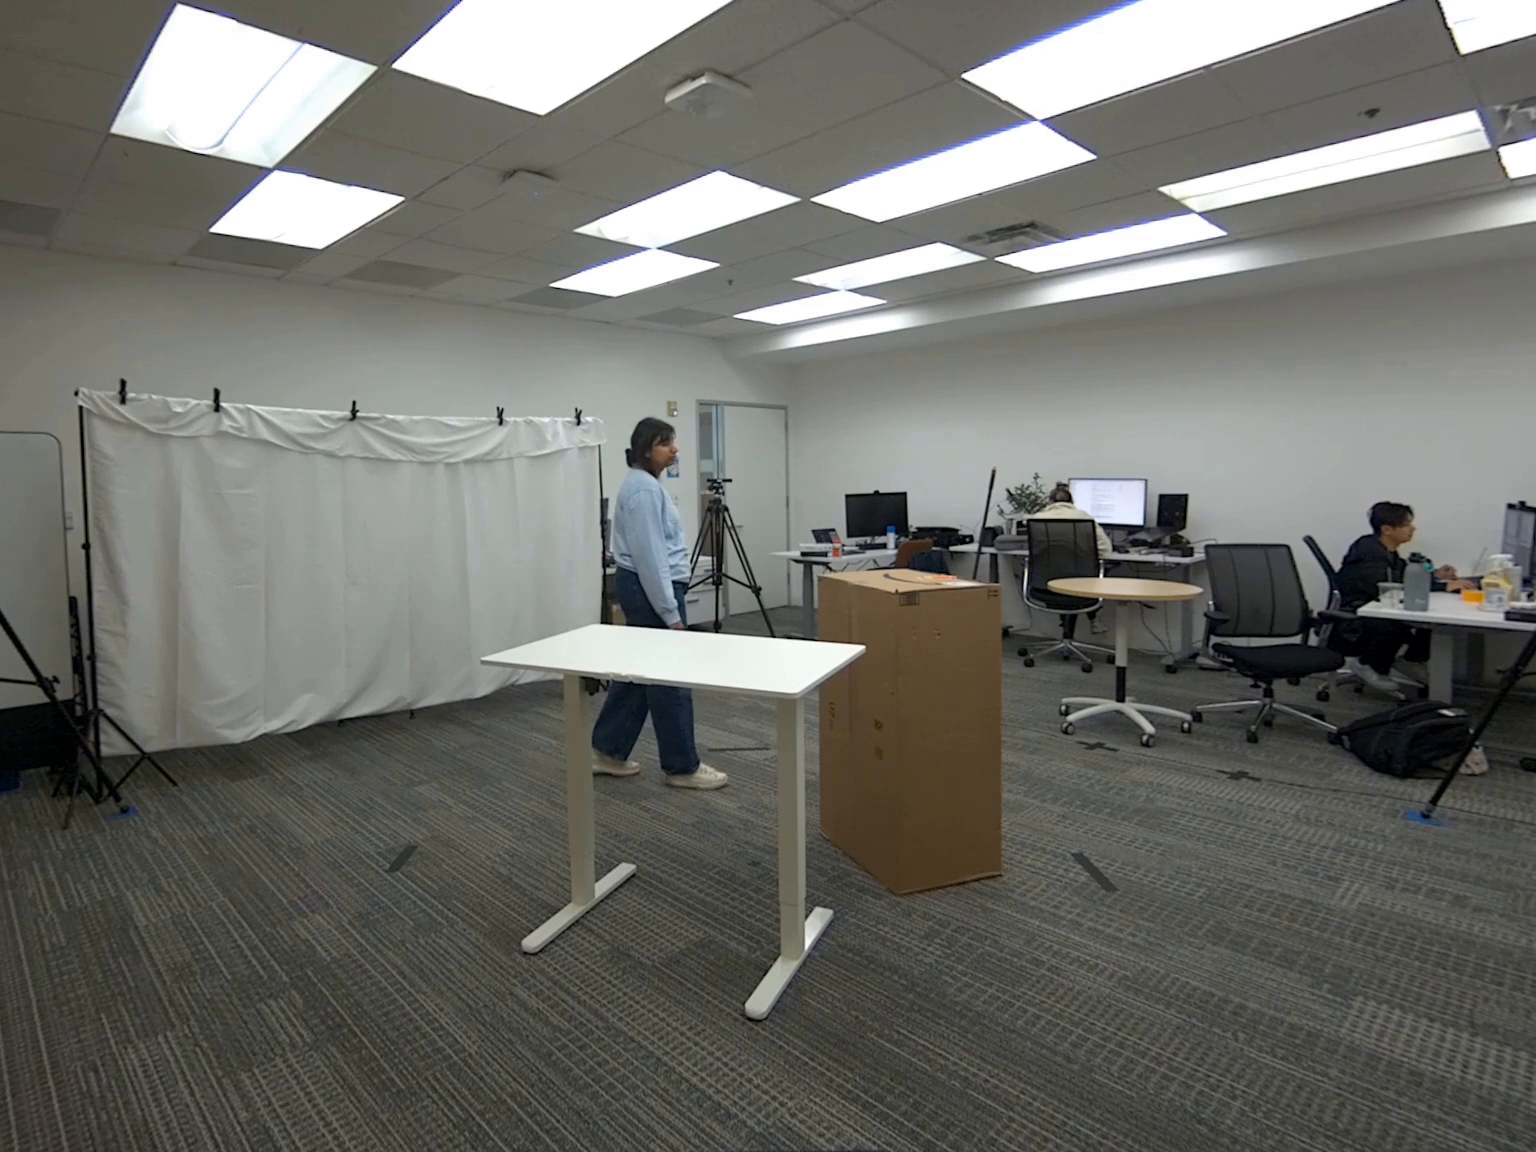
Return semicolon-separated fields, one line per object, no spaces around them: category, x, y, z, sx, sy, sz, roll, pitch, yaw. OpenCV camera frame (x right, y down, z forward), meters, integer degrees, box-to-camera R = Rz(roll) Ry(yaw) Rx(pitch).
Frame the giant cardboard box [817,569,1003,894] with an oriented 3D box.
giant cardboard box;0.507;0.521;3.151;0.418;1.023;0.591;-2;4;-23
